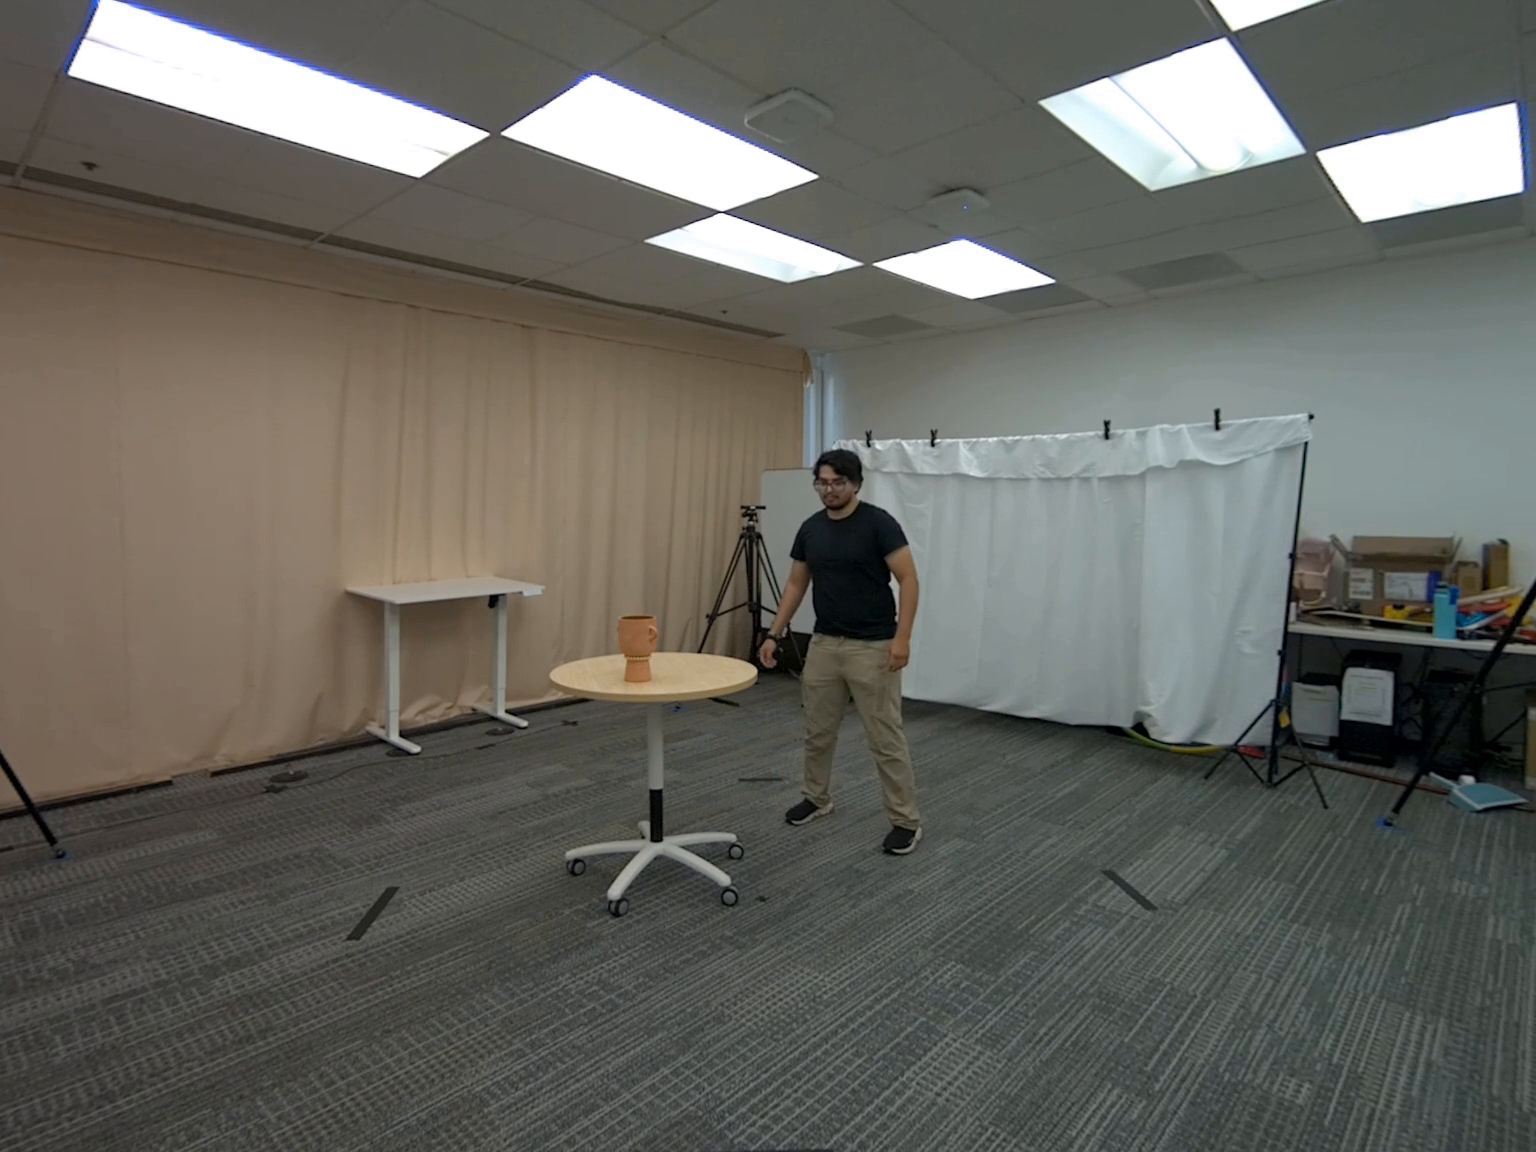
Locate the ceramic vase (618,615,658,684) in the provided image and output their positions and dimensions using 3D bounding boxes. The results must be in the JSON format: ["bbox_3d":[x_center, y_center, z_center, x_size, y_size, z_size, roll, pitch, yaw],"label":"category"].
[{"bbox_3d":[-0.457,0.257,2.965,0.133,0.219,0.161,-1,4,-14],"label":"ceramic vase"}]
